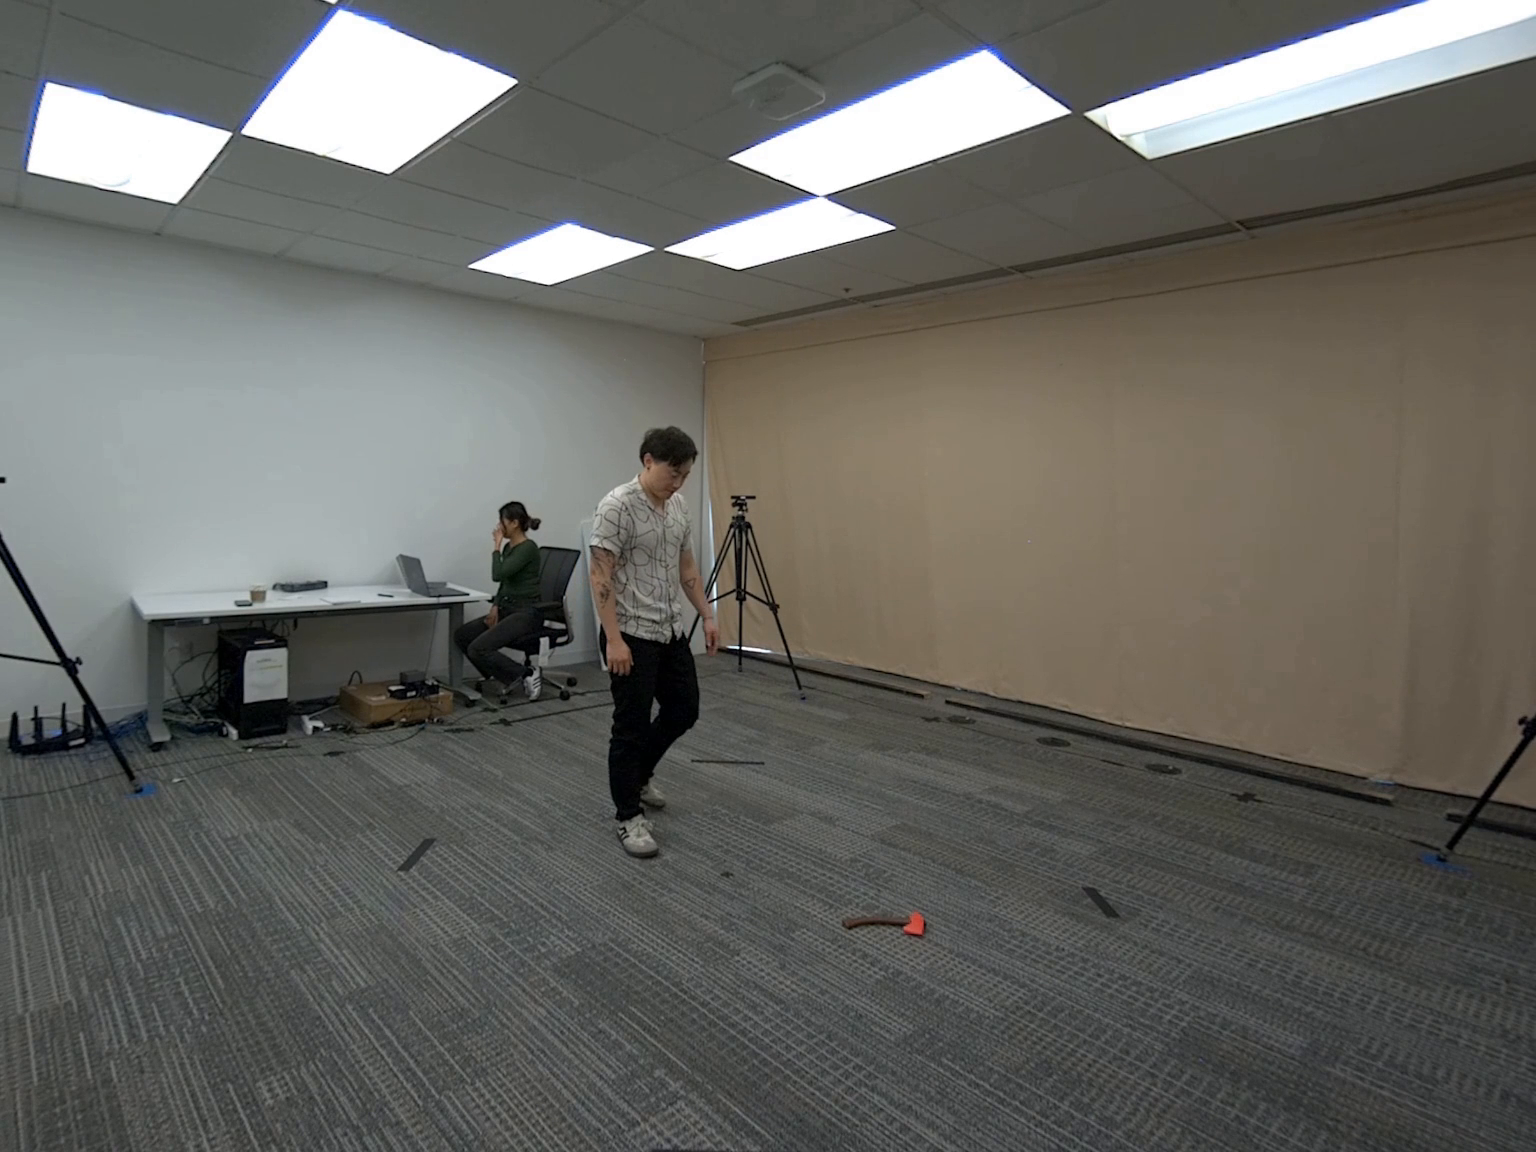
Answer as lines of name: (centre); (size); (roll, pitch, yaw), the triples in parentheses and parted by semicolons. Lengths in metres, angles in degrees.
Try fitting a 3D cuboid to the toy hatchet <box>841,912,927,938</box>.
toy hatchet: (0.383, 1.140, 2.722); (0.267, 0.029, 0.133); (-2, 10, -14)
